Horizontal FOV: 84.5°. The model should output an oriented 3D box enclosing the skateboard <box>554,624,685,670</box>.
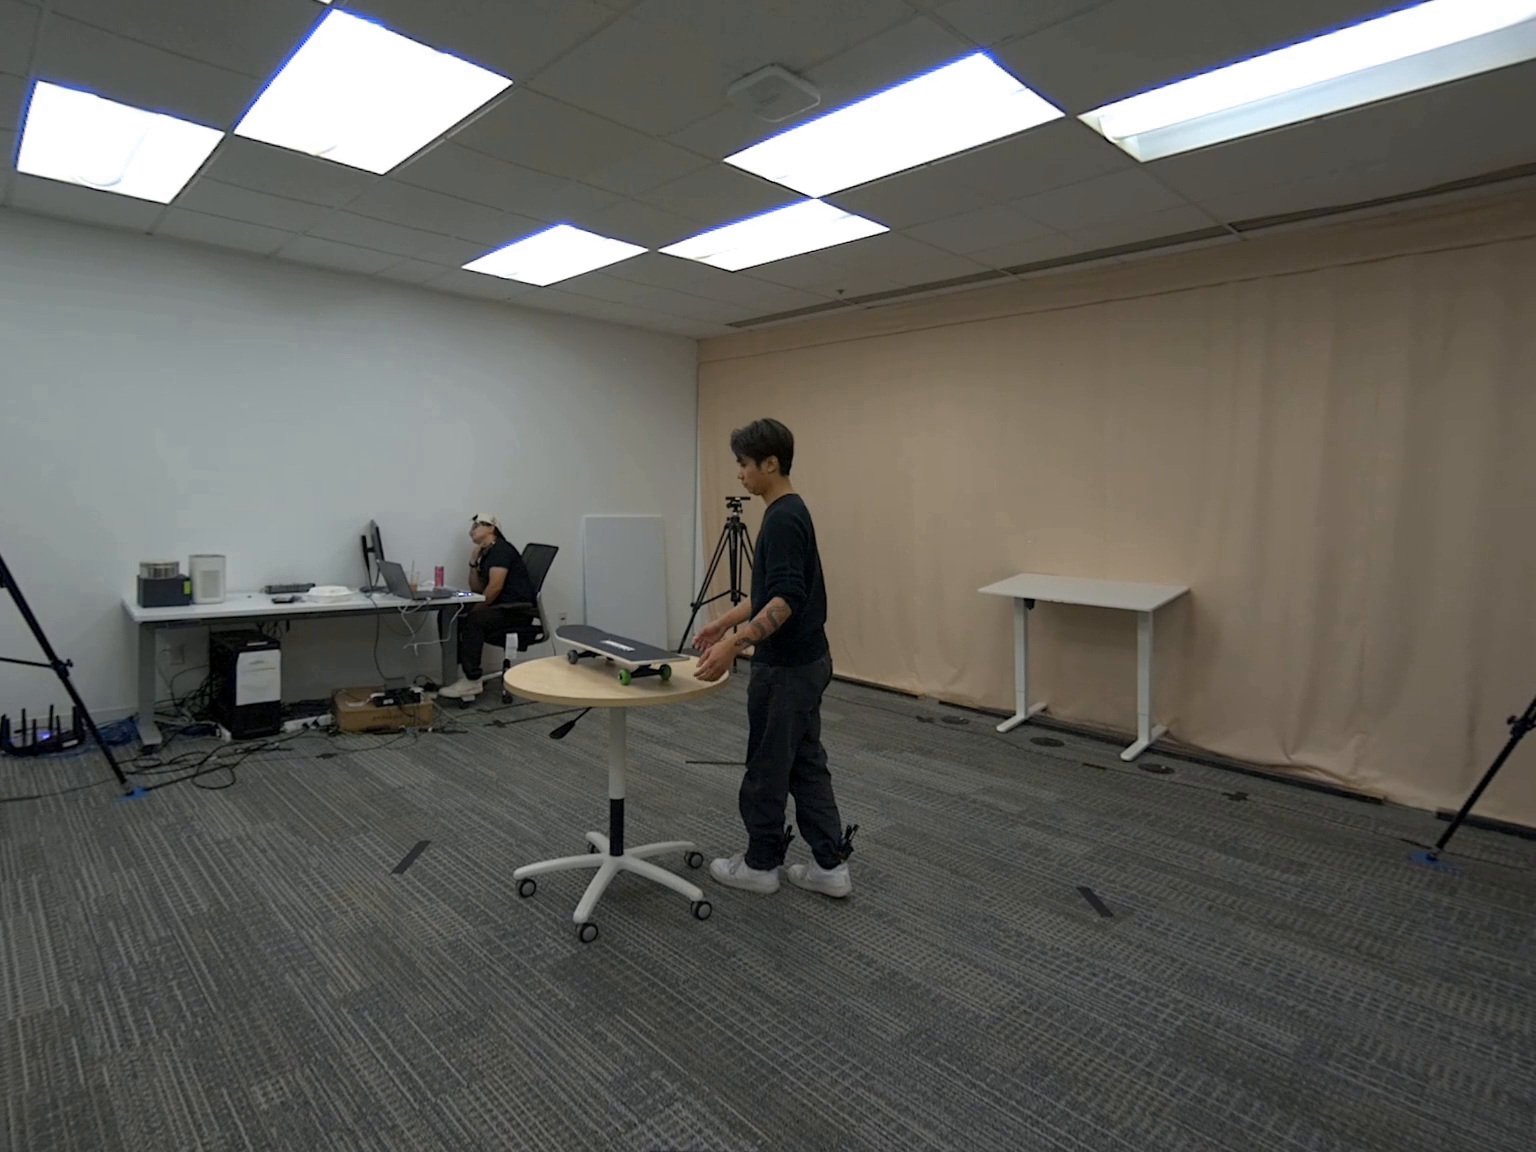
[{"bbox_3d":[-0.529,0.281,2.930,0.189,0.110,0.805,-3,6,-37],"label":"skateboard"}]
